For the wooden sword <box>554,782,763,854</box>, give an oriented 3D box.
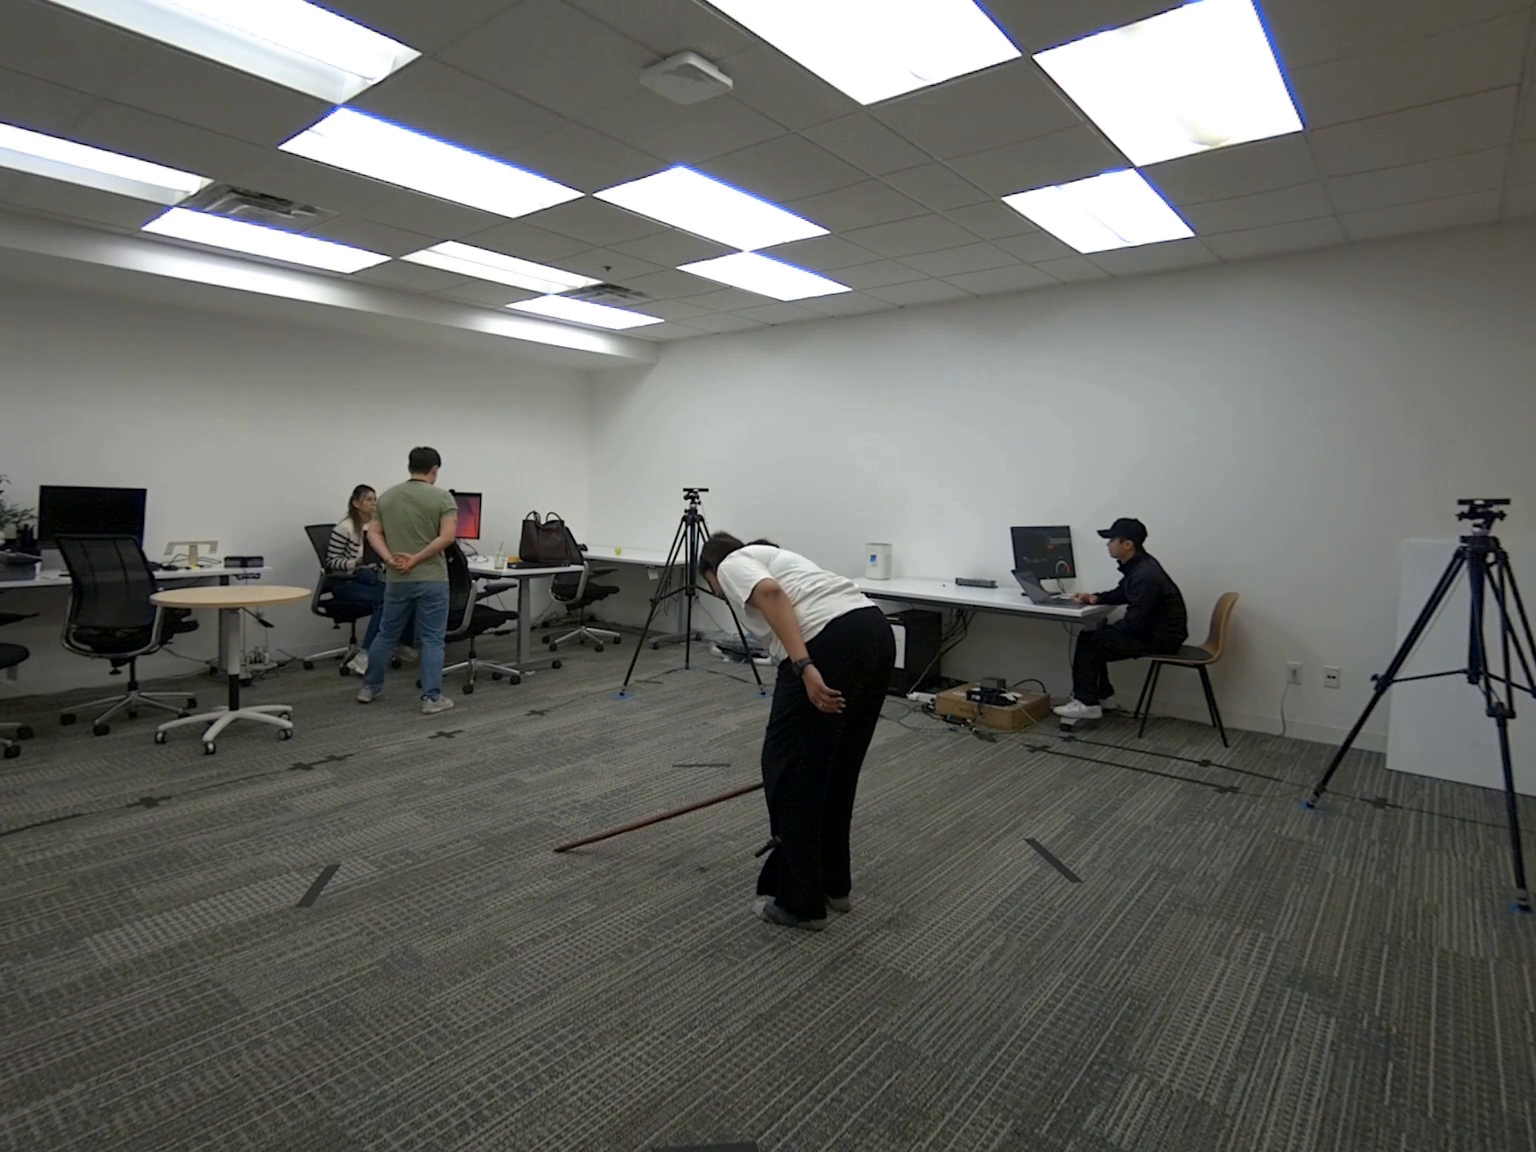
[{"bbox_3d":[-0.339,0.890,3.232,1.023,0.024,0.051,-18,4,-2],"label":"wooden sword"}]
